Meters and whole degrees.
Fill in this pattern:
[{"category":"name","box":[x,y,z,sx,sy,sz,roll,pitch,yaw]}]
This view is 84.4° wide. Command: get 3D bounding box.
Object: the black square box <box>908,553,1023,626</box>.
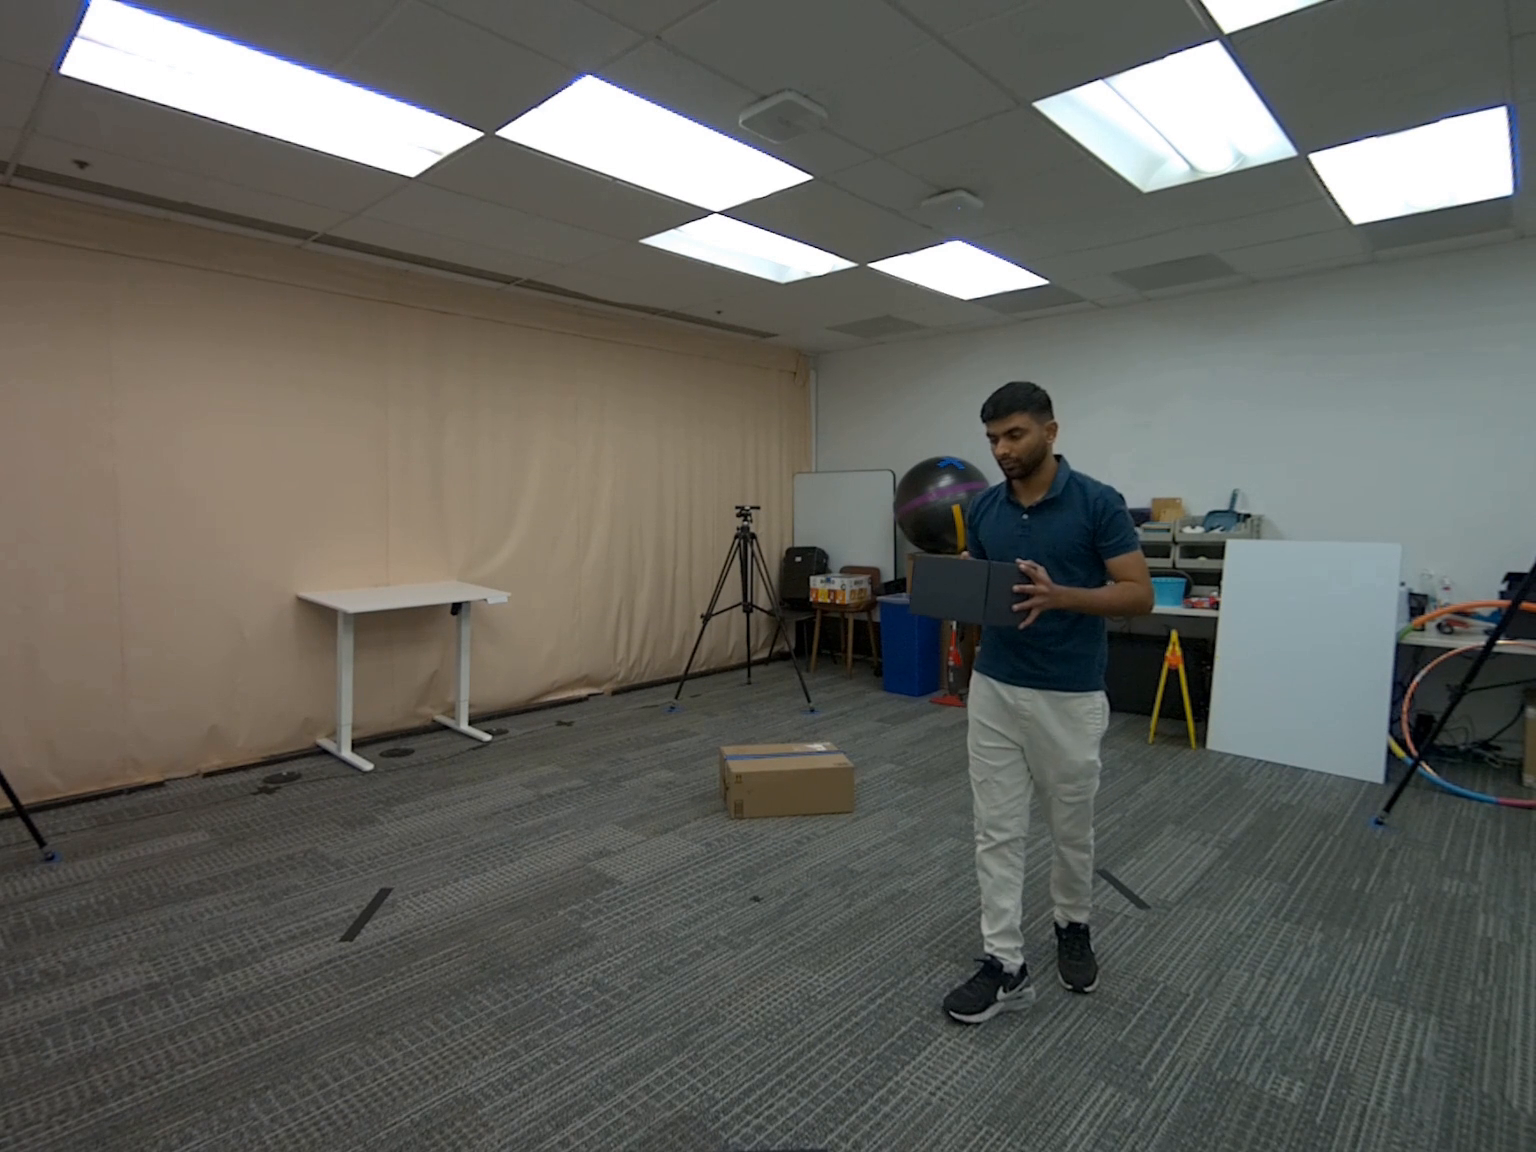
[{"category":"black square box","box":[0.513,0.032,2.182,0.236,0.156,0.210,8,3,39]}]
